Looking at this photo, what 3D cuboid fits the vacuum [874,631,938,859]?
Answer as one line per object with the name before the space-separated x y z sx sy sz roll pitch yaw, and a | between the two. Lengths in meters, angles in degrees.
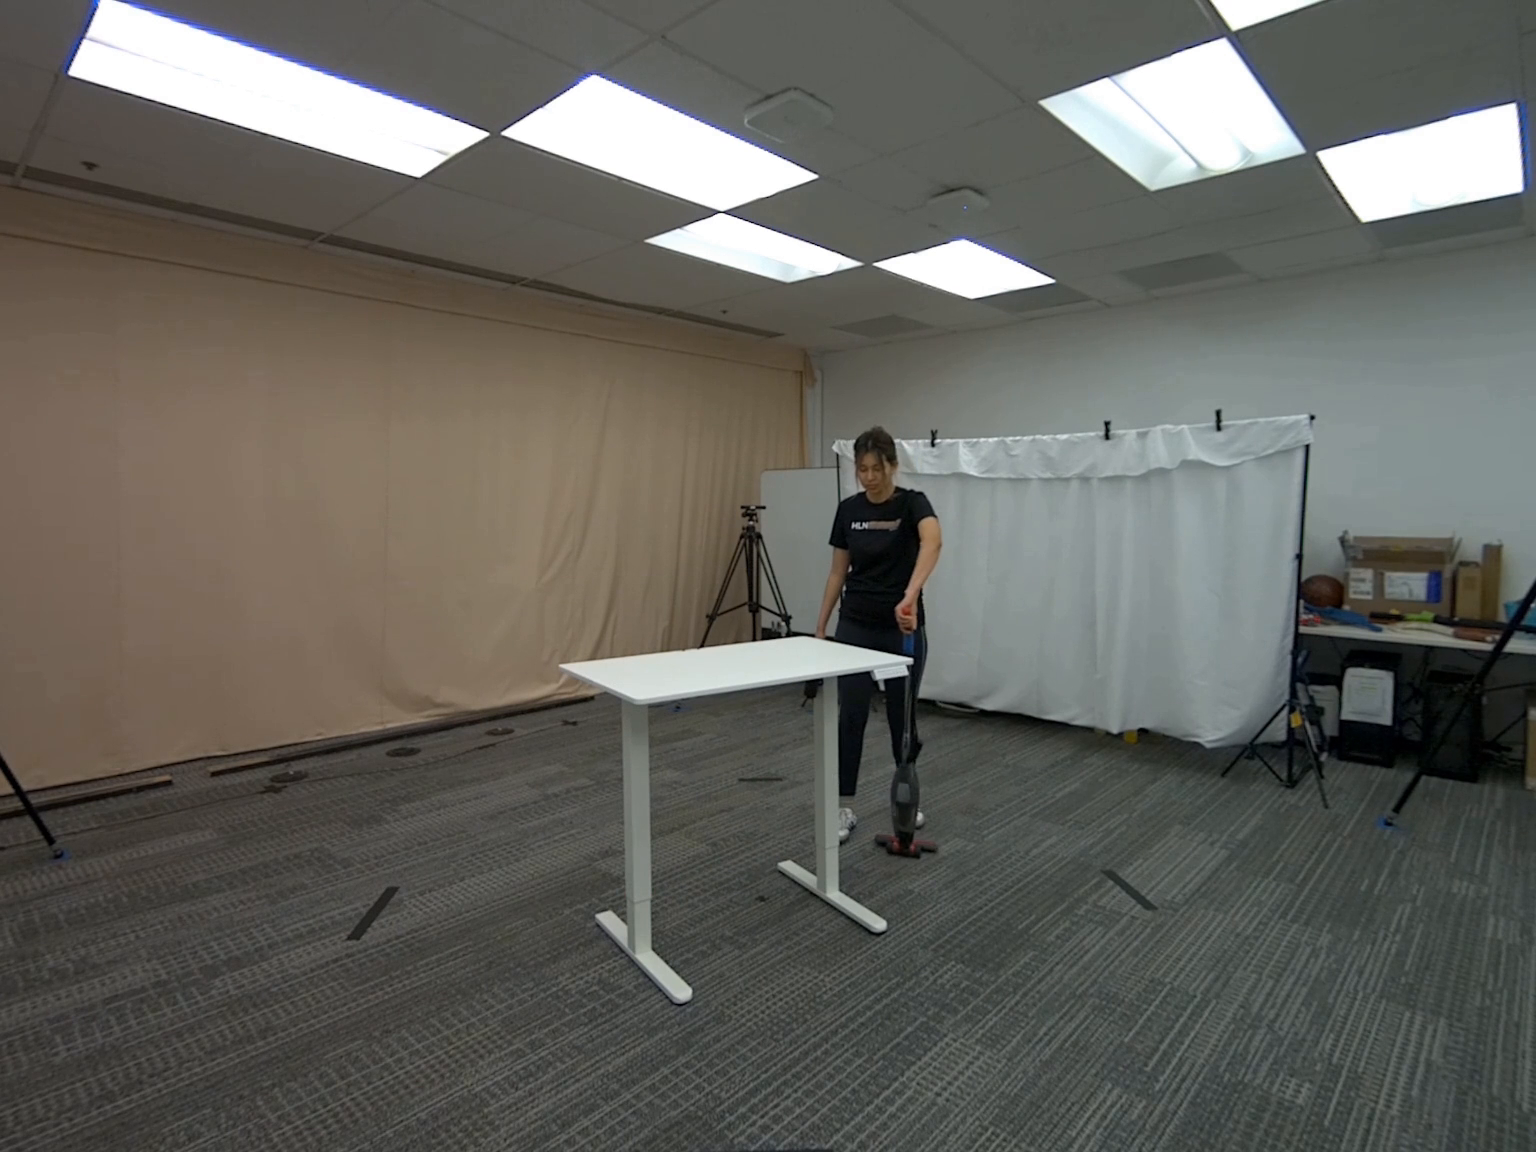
vacuum | 0.539 0.627 3.221 0.257 1.035 0.143 3 21 14
